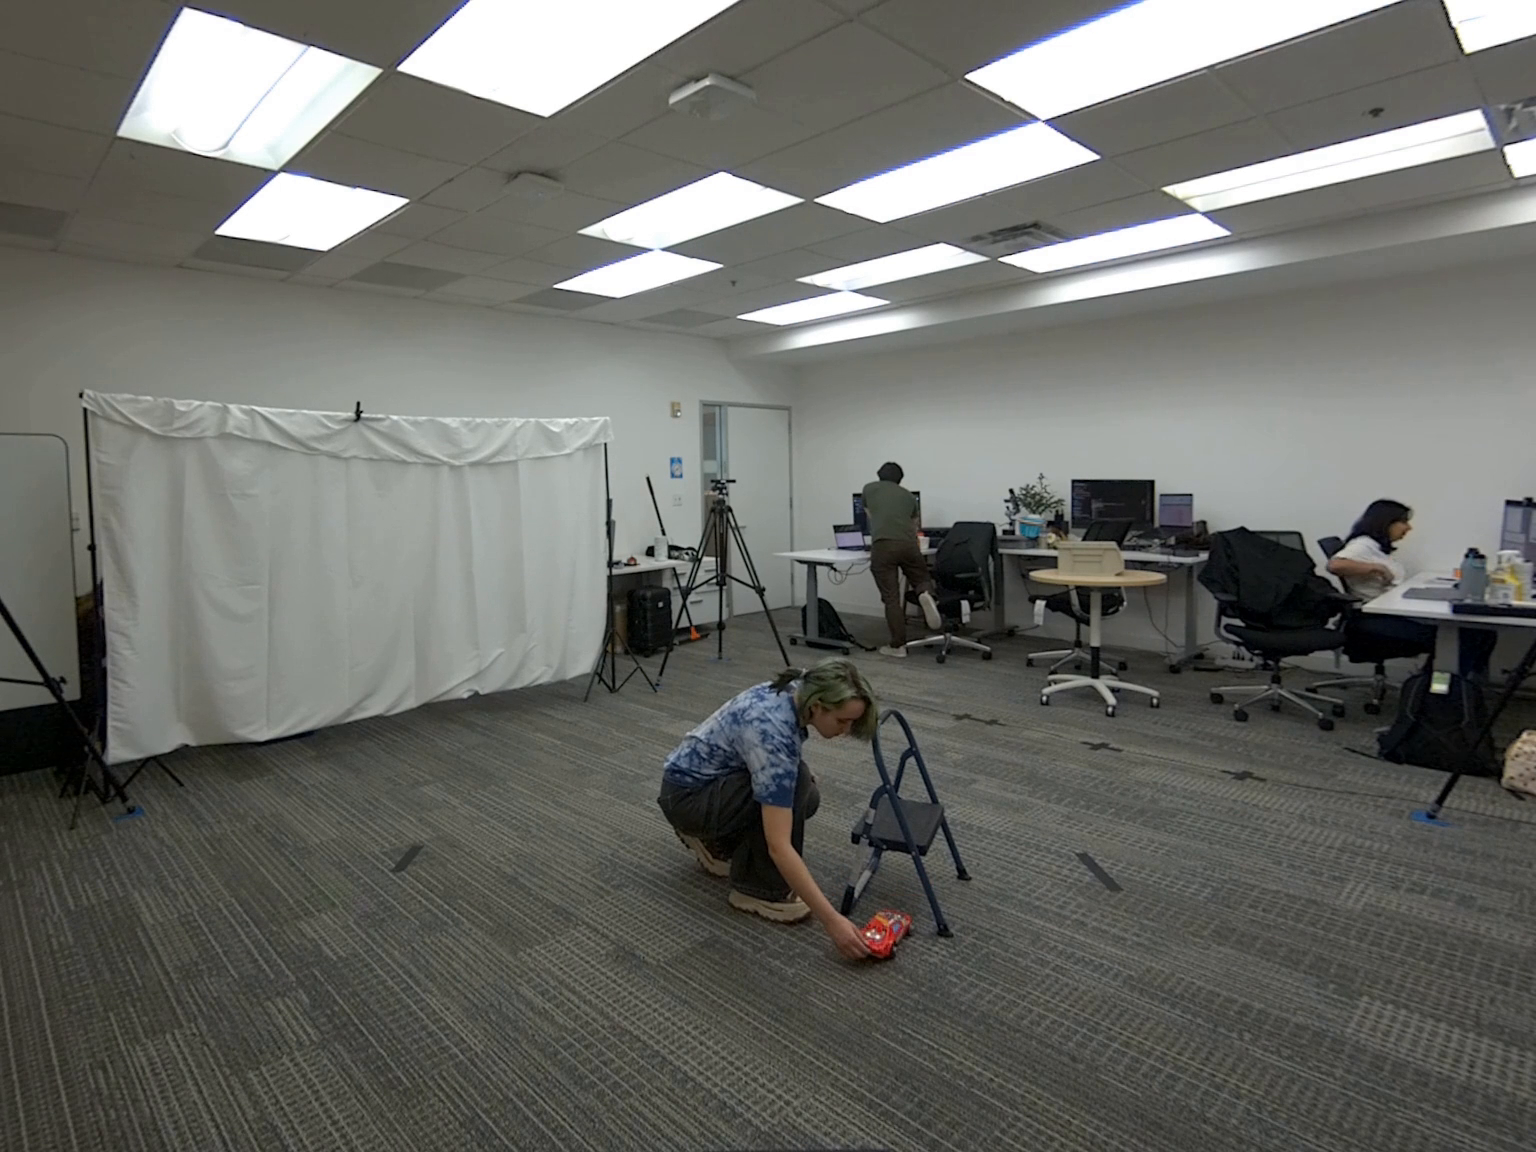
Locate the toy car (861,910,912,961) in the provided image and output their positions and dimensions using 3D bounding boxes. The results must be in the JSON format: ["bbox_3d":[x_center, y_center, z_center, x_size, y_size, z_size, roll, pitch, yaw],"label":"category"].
[{"bbox_3d":[0.355,1.076,2.553,0.134,0.083,0.247,4,-2,30],"label":"toy car"}]
